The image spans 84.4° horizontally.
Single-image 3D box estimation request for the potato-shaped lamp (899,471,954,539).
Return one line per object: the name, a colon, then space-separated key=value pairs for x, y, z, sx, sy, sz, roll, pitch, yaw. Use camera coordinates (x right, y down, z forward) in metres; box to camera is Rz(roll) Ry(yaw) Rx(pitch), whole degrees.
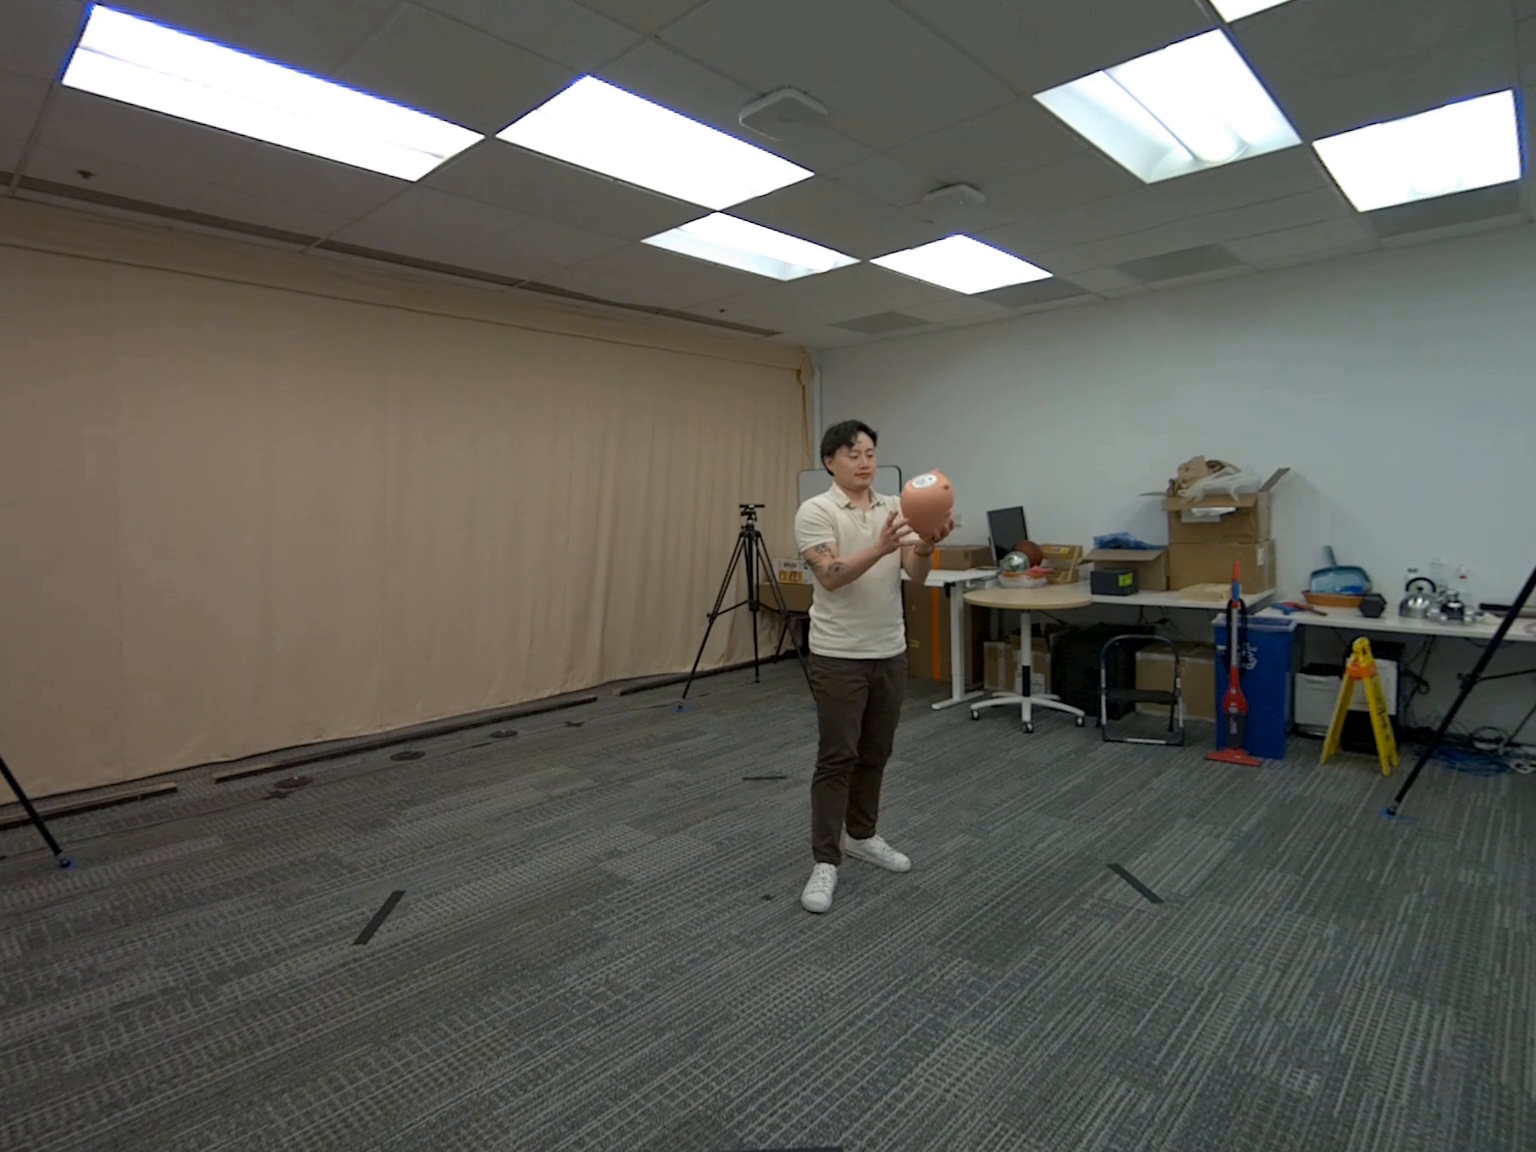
potato-shaped lamp: x=0.518 y=-0.219 z=2.721 sx=0.172 sy=0.193 sz=0.168 roll=-19 pitch=30 yaw=4
